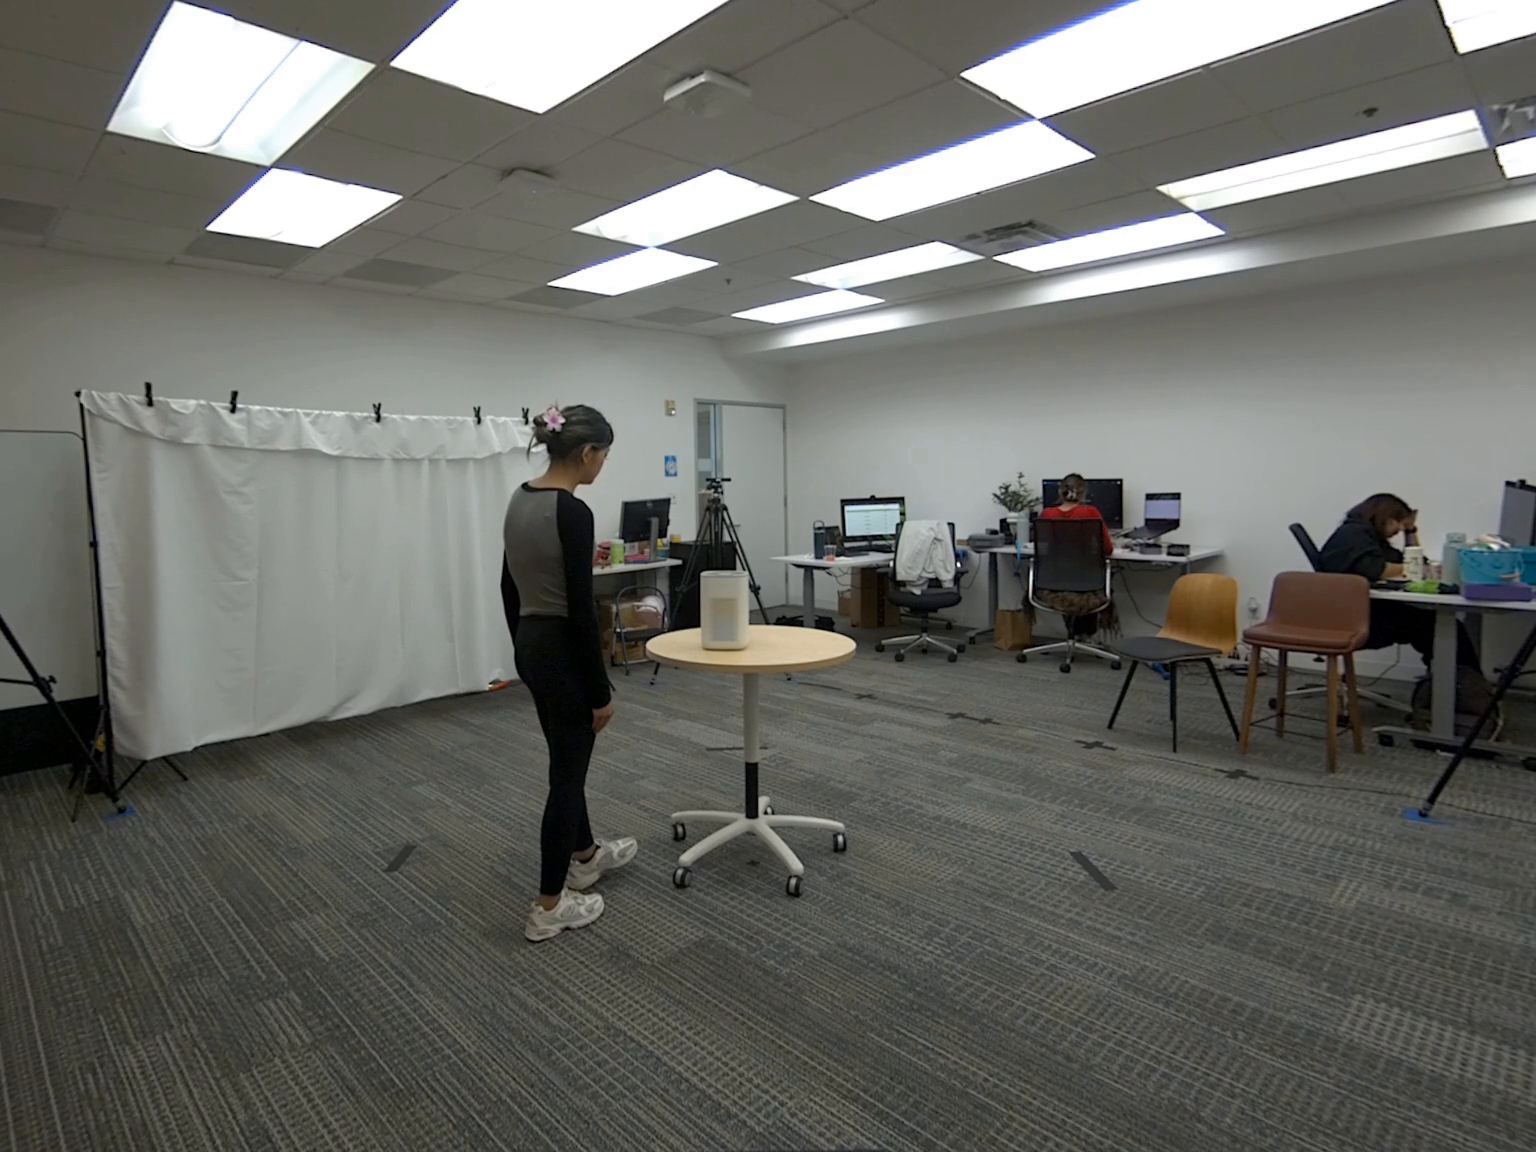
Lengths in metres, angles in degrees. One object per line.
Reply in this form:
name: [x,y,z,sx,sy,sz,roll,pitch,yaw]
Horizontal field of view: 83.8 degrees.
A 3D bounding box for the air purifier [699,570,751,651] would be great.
air purifier: [-0.148,0.121,3.056,0.172,0.264,0.171,-2,4,1]
